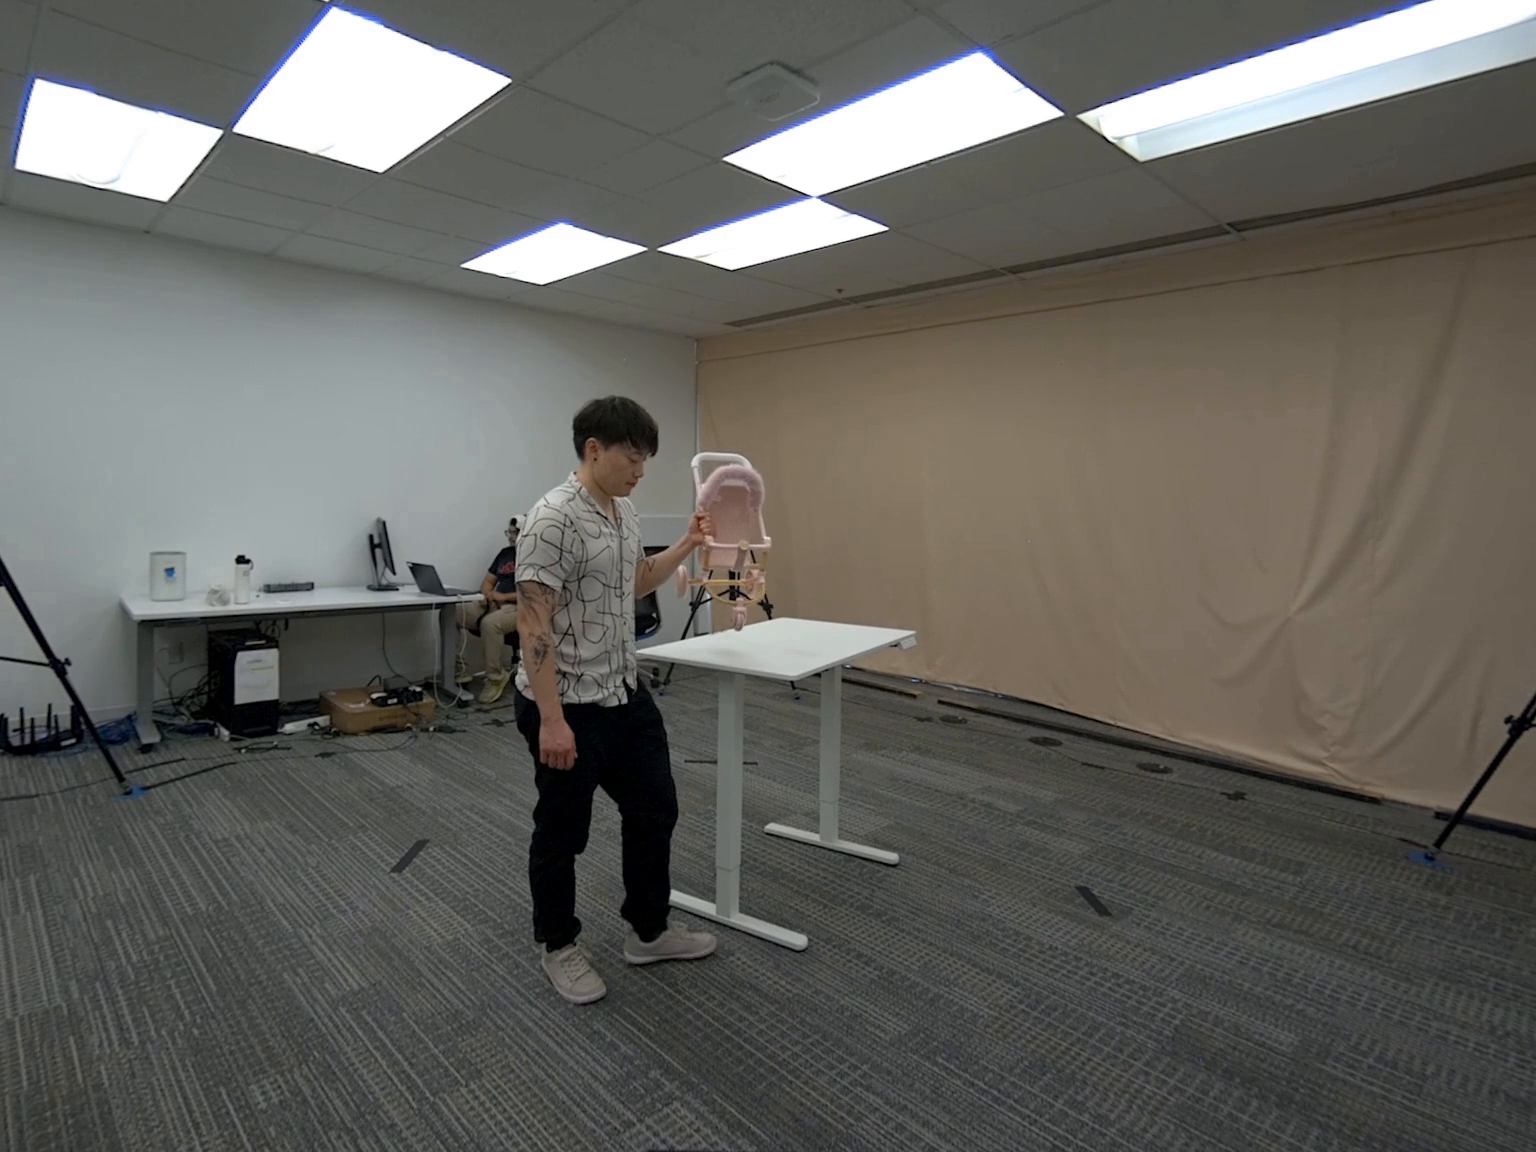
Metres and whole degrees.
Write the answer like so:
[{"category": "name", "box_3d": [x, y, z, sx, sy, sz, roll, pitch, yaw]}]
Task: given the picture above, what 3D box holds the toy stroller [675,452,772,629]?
[{"category": "toy stroller", "box_3d": [-0.123, -0.114, 2.655, 0.278, 0.533, 0.347, 3, 7, -16]}]
